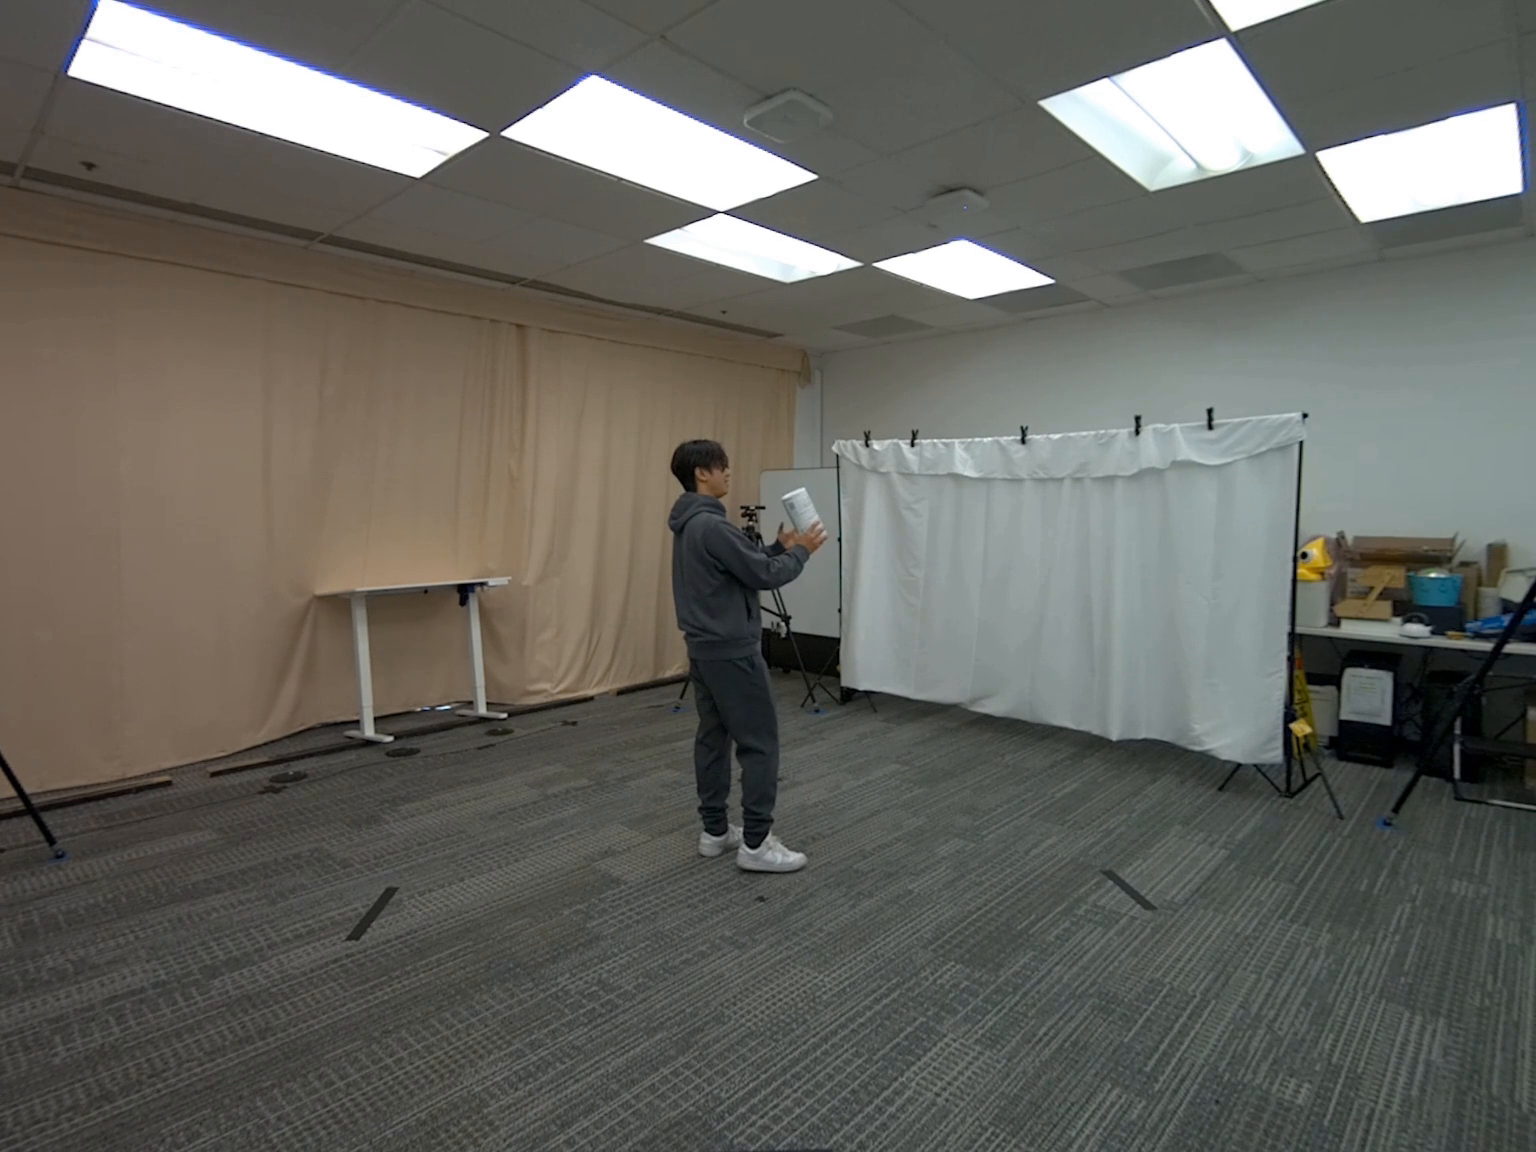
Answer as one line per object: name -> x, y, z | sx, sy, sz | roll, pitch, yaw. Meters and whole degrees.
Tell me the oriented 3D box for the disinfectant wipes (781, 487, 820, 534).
disinfectant wipes -> 0.151, -0.243, 3.416 | 0.118, 0.216, 0.118 | -25, 5, 1
